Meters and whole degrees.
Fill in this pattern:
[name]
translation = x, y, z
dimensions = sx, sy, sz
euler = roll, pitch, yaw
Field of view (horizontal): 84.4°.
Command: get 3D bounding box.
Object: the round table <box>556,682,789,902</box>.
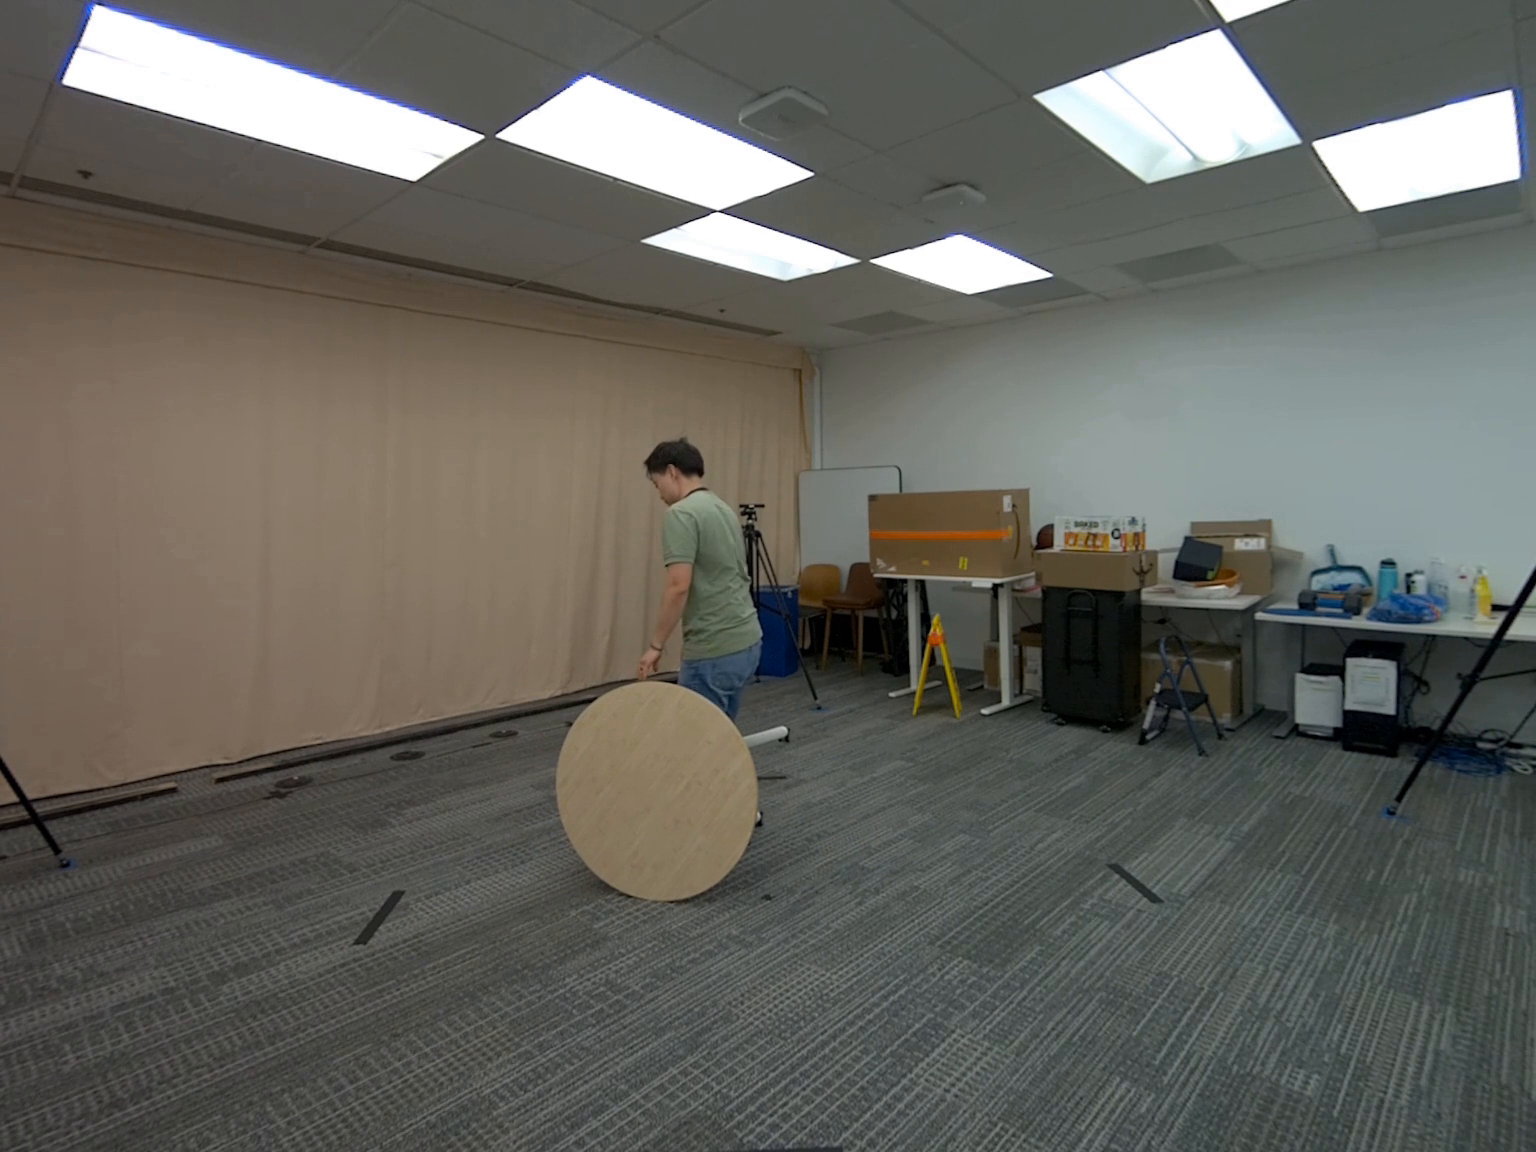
[round table]
translation = -0.328, 0.769, 3.378
dimensions = 0.777, 0.765, 0.780
euler = 0, -2, 15
